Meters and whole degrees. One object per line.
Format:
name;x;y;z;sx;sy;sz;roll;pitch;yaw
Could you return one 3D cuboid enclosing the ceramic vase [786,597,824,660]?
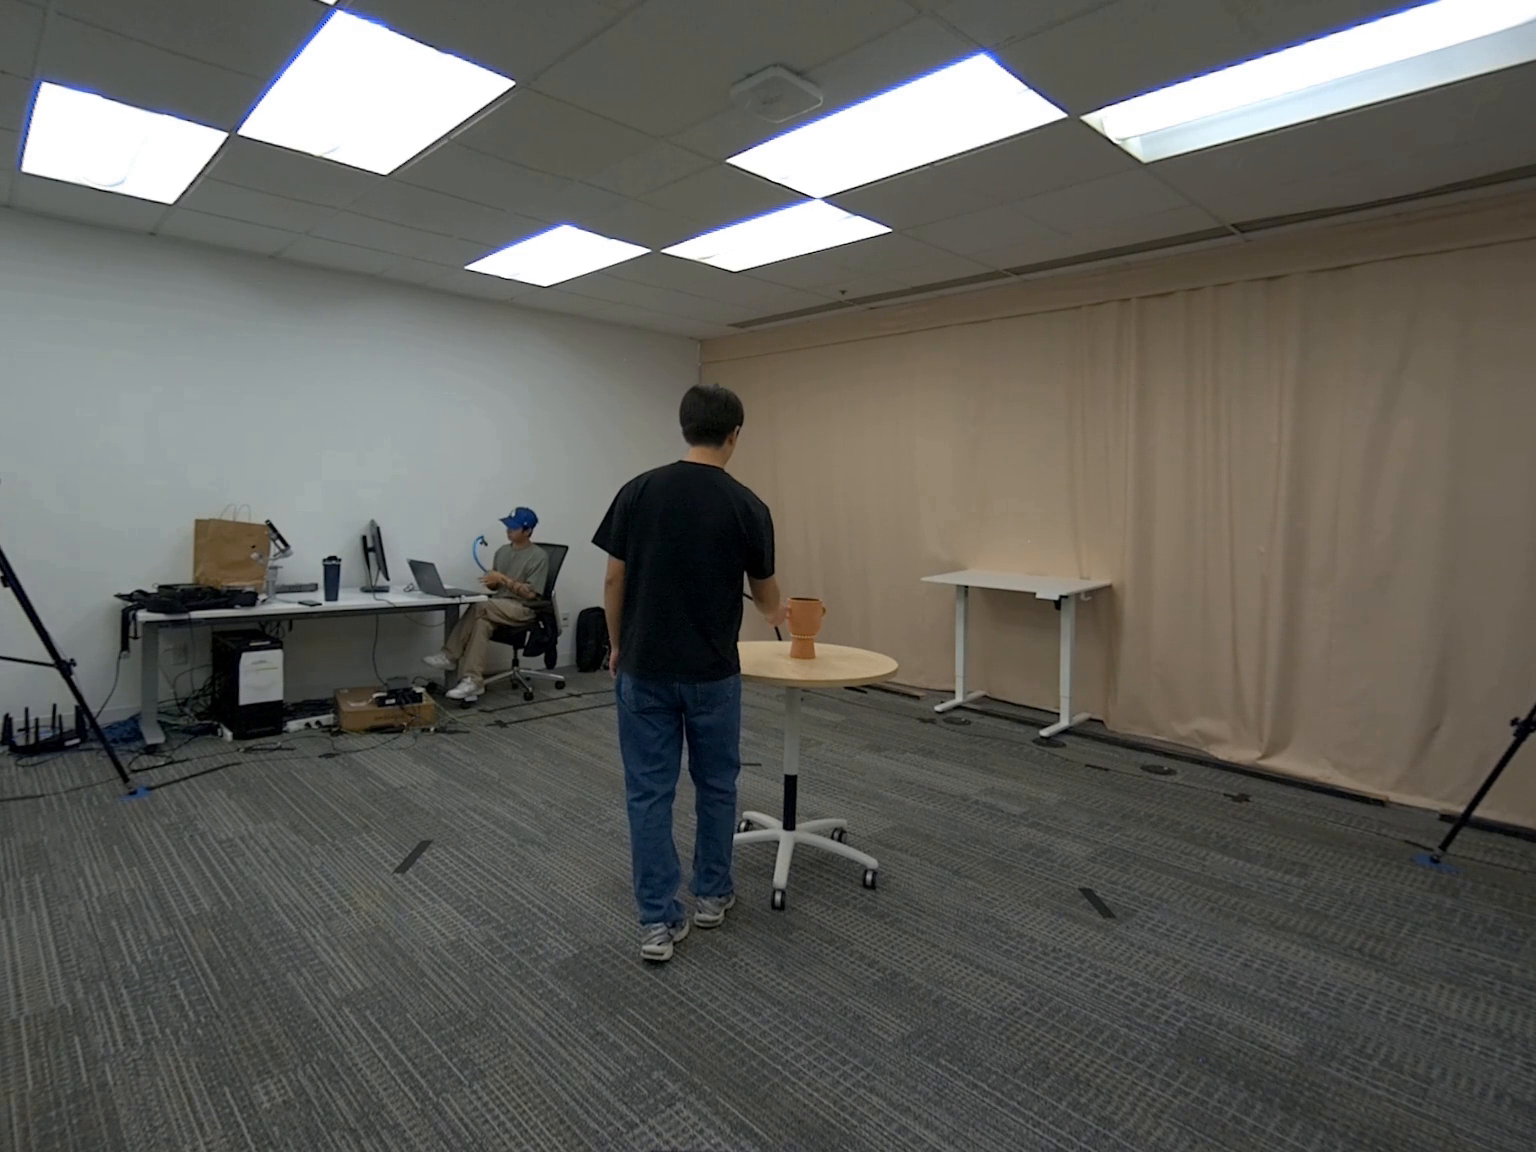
ceramic vase;0.129;0.202;3.203;0.160;0.219;0.134;2;4;7
